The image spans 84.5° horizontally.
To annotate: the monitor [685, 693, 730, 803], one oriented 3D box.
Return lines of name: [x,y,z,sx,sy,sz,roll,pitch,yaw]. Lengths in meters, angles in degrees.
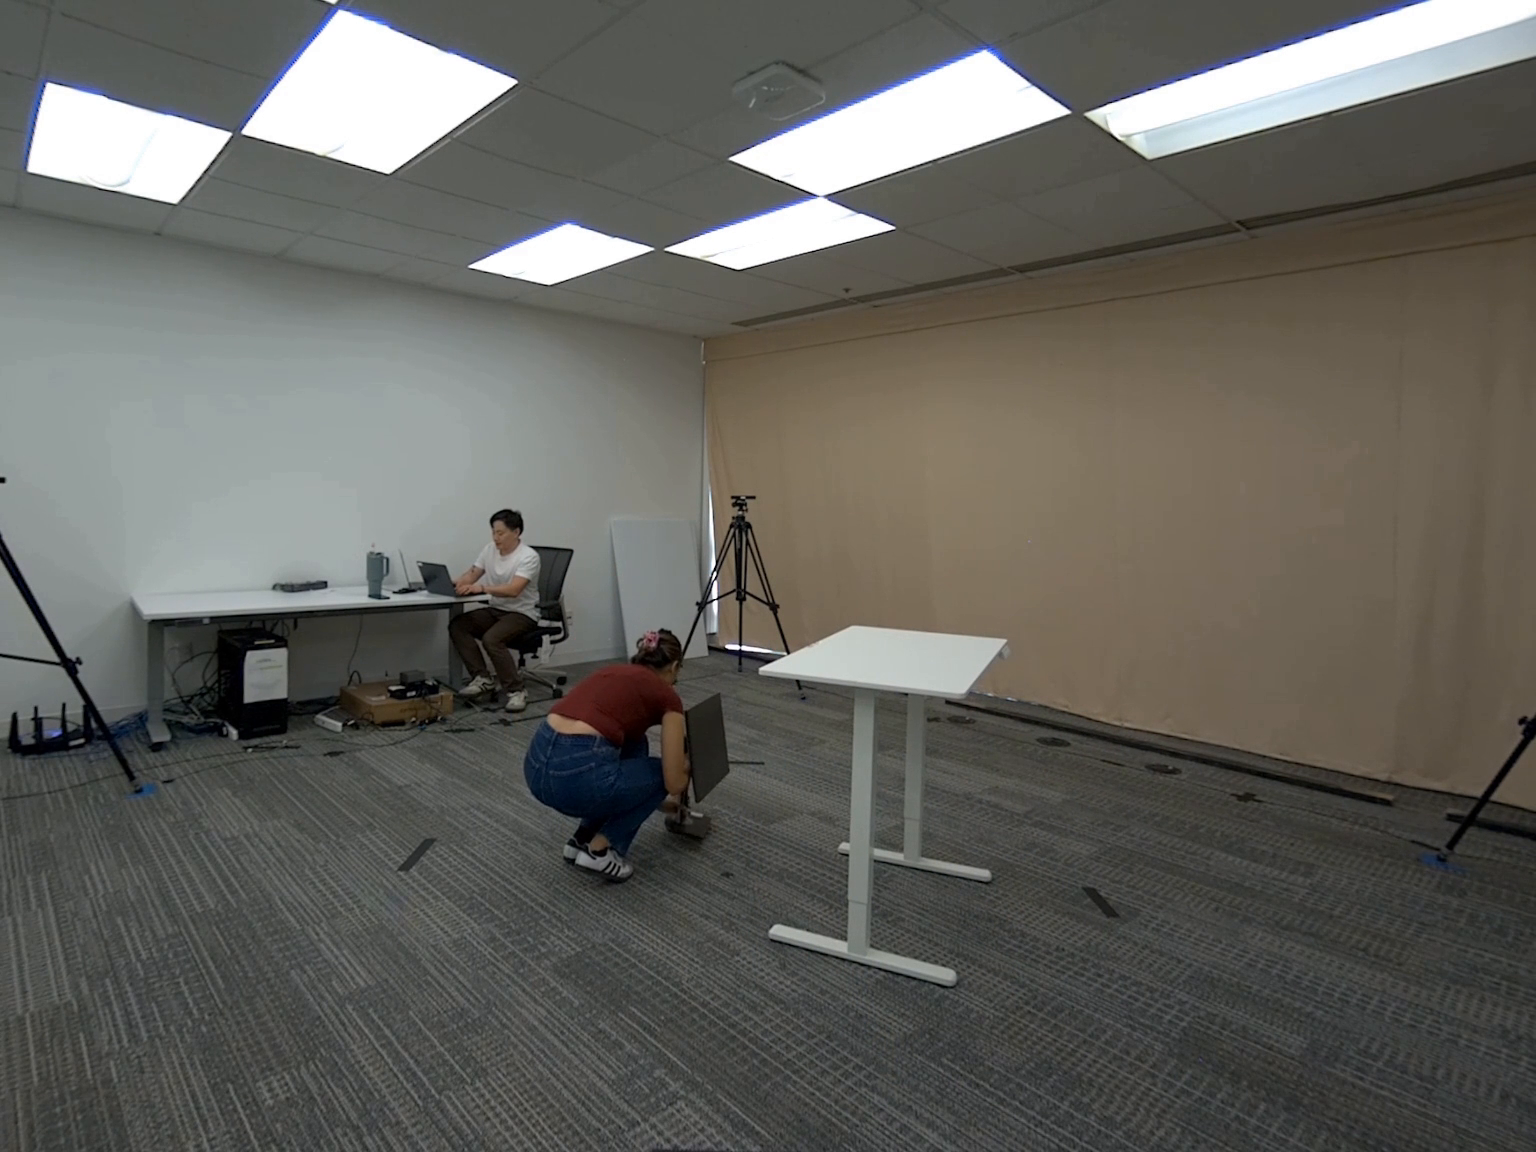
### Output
monitor: [-0.301,0.780,3.465,0.189,0.522,0.534,7,1,9]
